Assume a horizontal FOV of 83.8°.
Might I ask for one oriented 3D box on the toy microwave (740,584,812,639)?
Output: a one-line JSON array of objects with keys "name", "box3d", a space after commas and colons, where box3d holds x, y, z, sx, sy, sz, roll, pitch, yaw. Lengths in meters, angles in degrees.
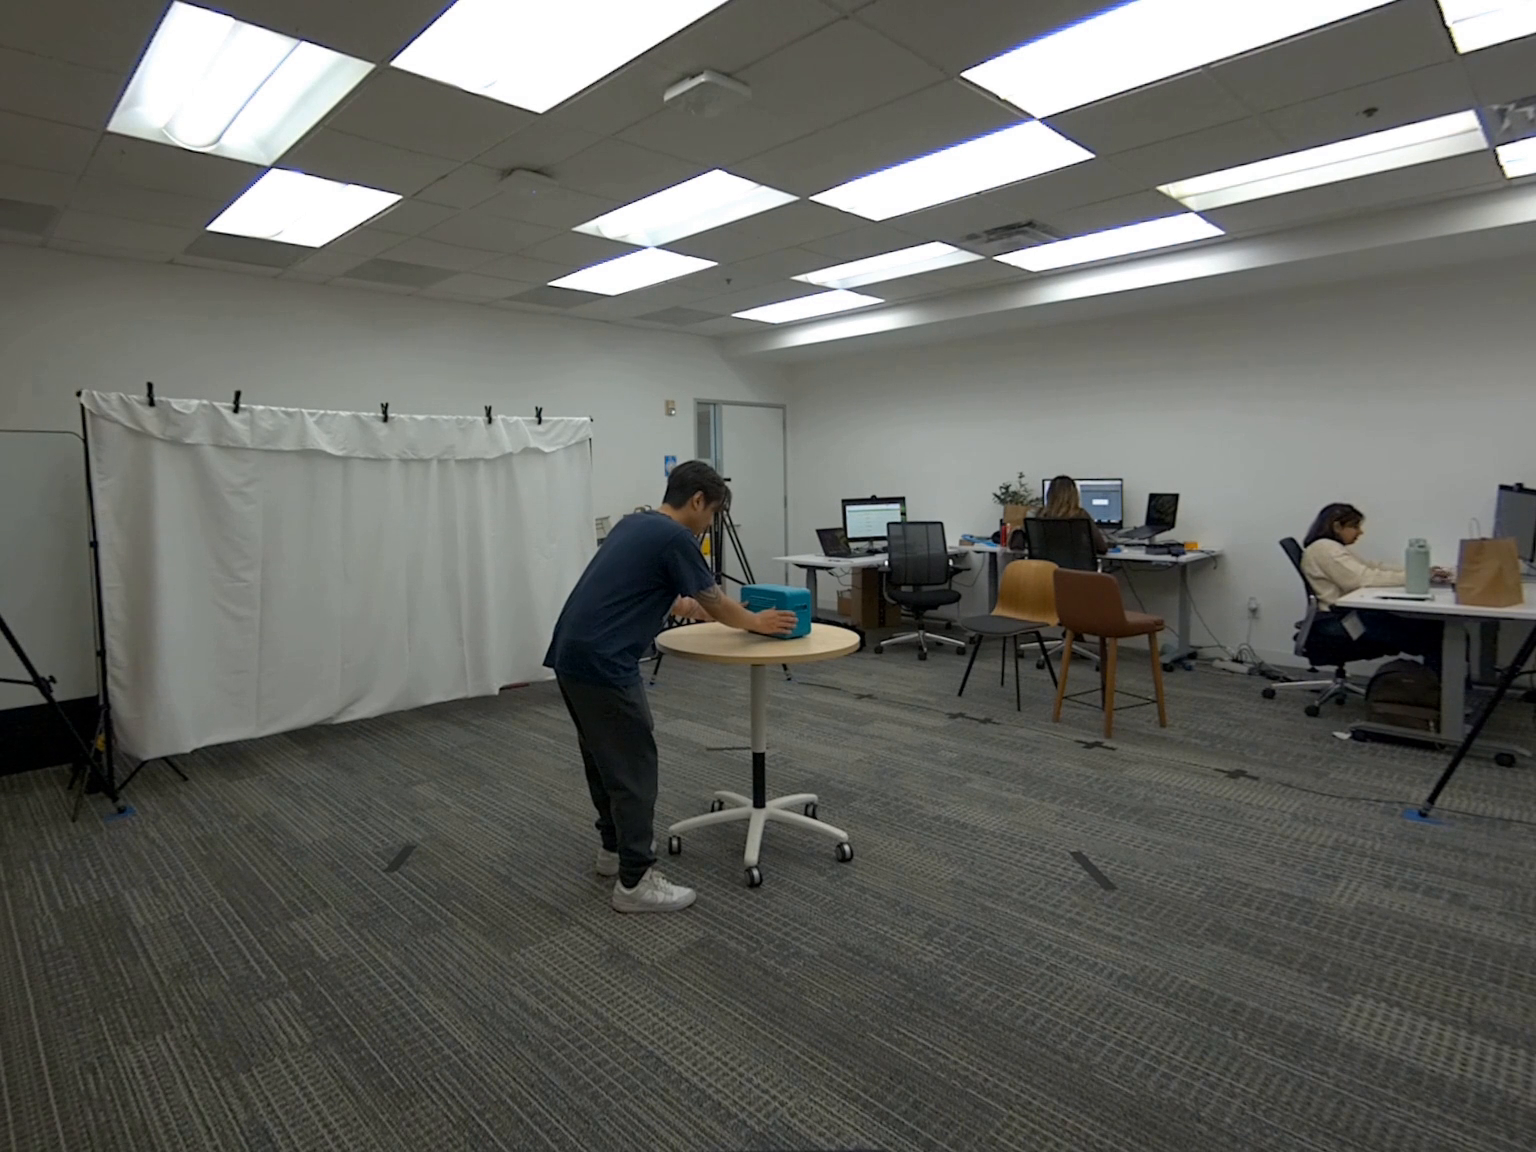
[{"name": "toy microwave", "box3d": [0.037, 0.131, 3.278, 0.148, 0.183, 0.295, -3, 5, -37]}]
